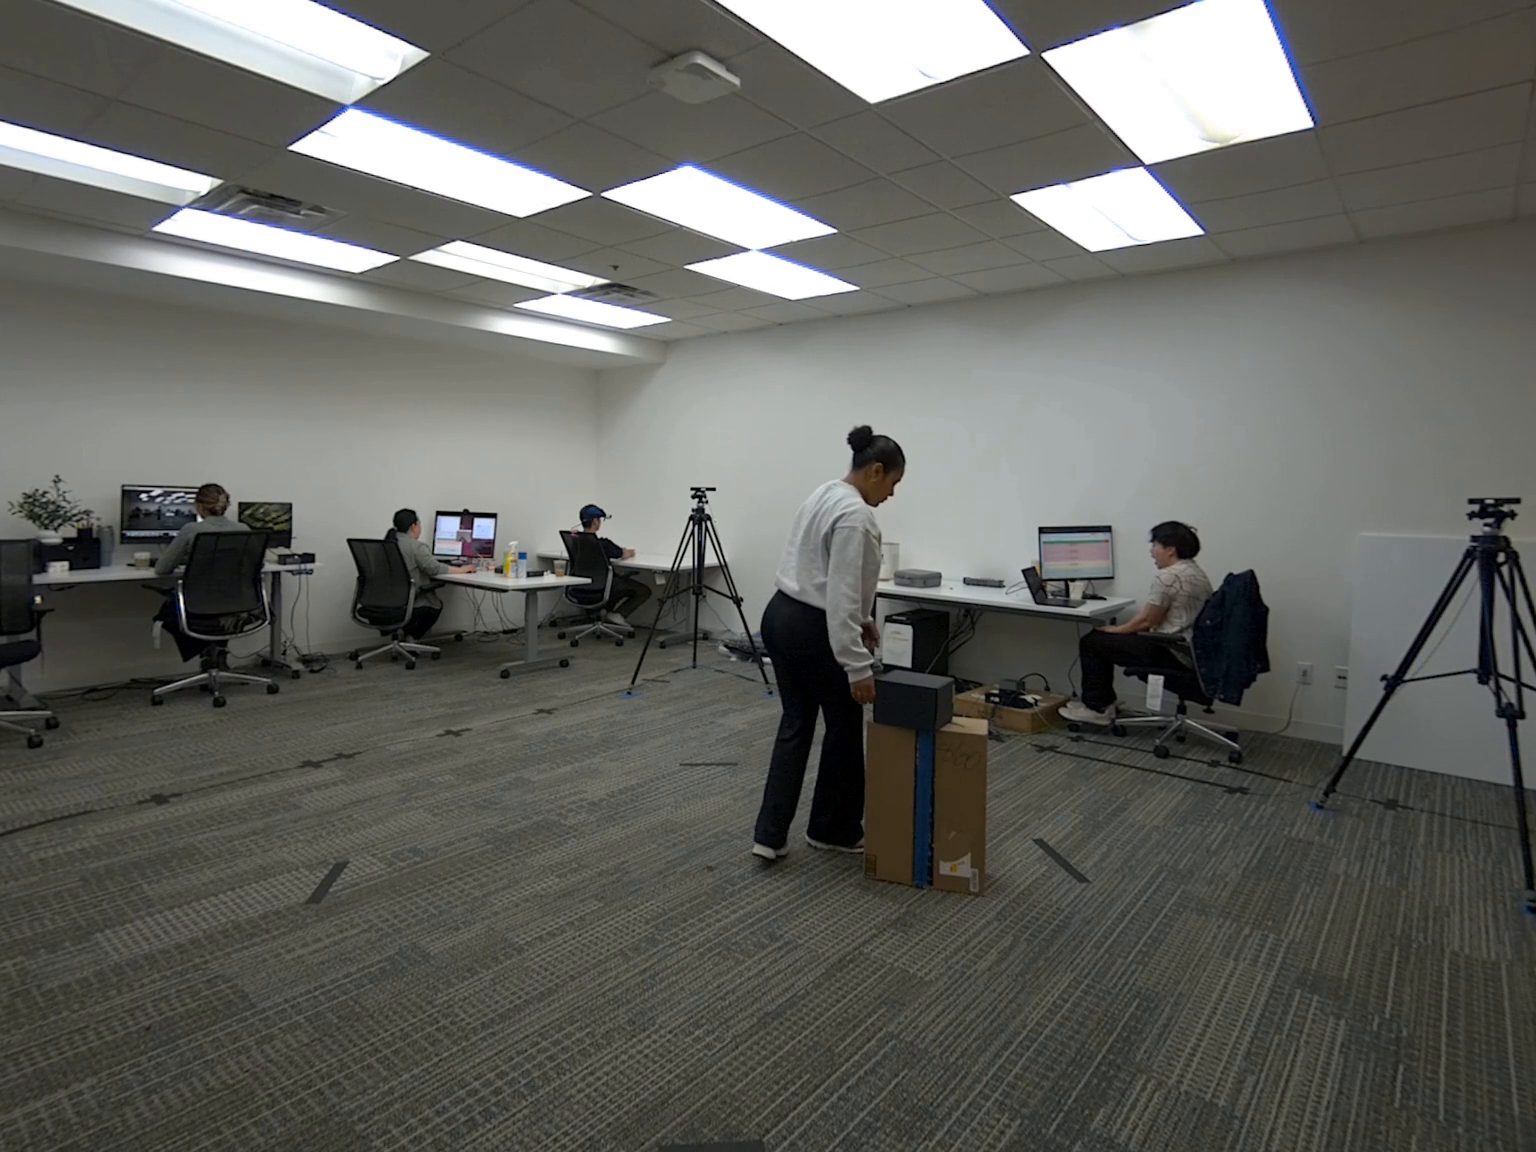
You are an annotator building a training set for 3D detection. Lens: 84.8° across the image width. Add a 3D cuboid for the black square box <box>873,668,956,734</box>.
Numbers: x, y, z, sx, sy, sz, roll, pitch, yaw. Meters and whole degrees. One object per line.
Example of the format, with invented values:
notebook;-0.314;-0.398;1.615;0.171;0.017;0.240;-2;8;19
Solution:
black square box;0.521;0.442;3.060;0.235;0.155;0.211;4;5;29
